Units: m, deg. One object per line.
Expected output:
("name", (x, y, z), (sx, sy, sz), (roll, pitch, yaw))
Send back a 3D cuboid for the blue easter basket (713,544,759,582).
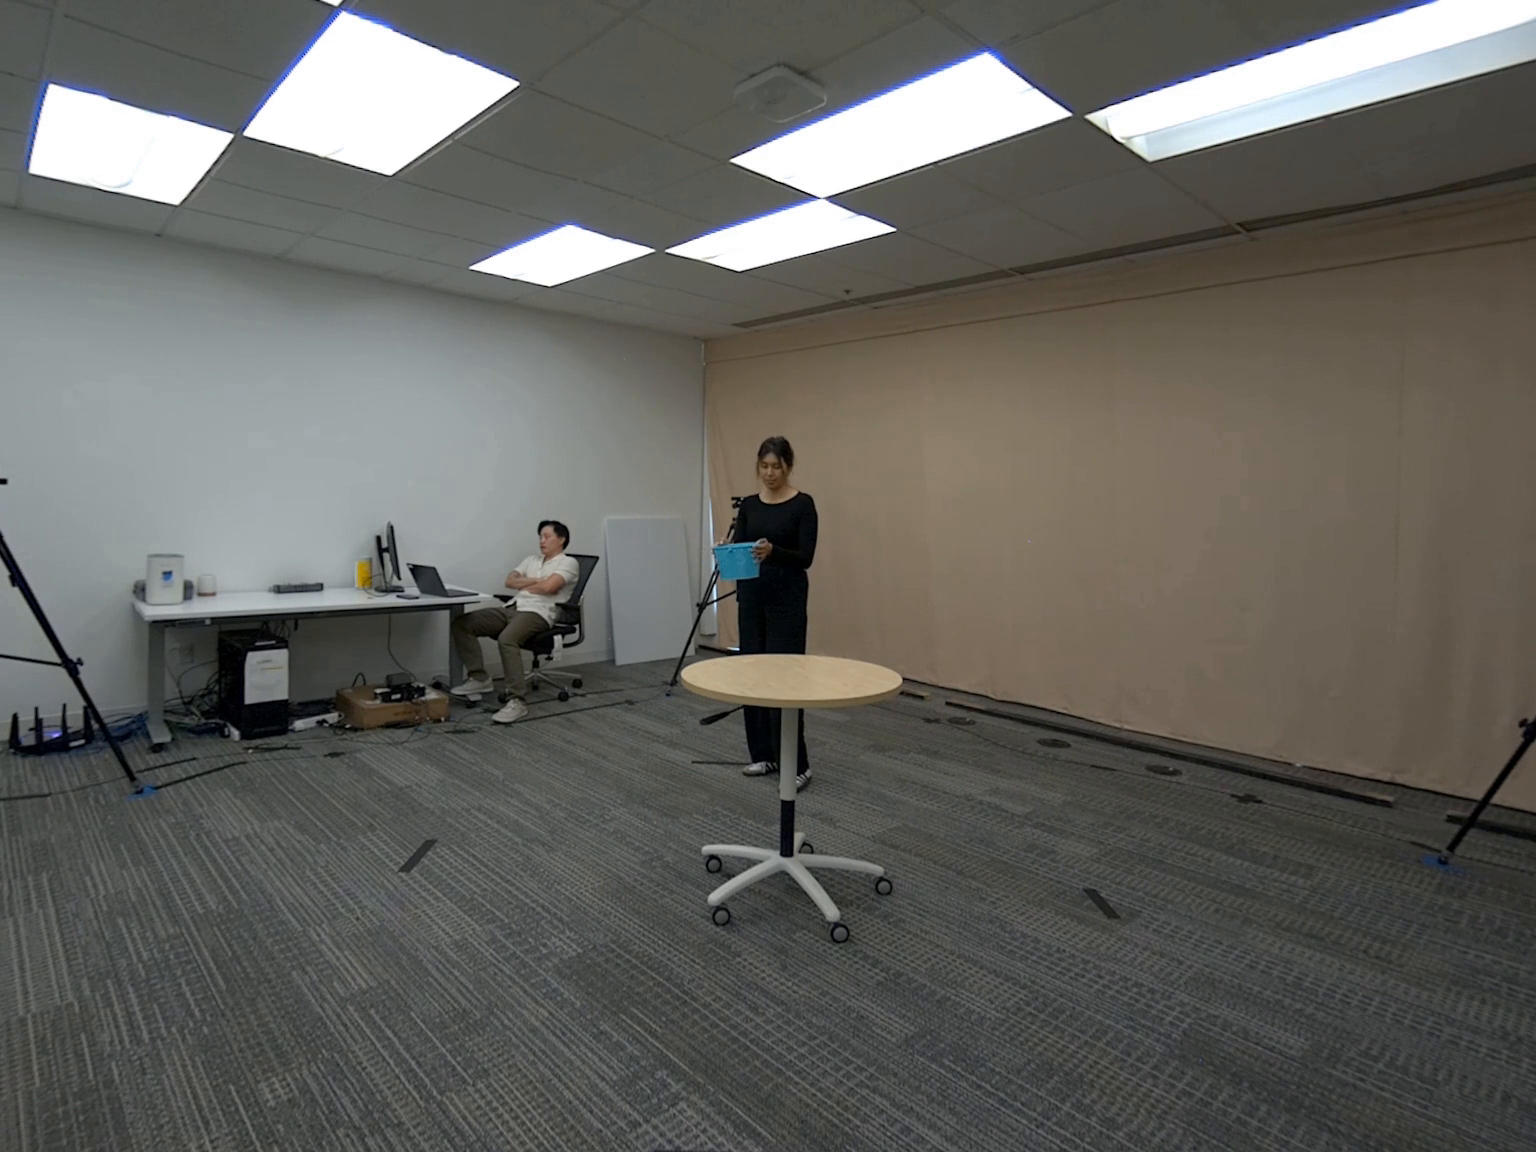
("blue easter basket", (-0.147, -0.069, 3.956), (0.243, 0.155, 0.244), (-5, 3, -1))
